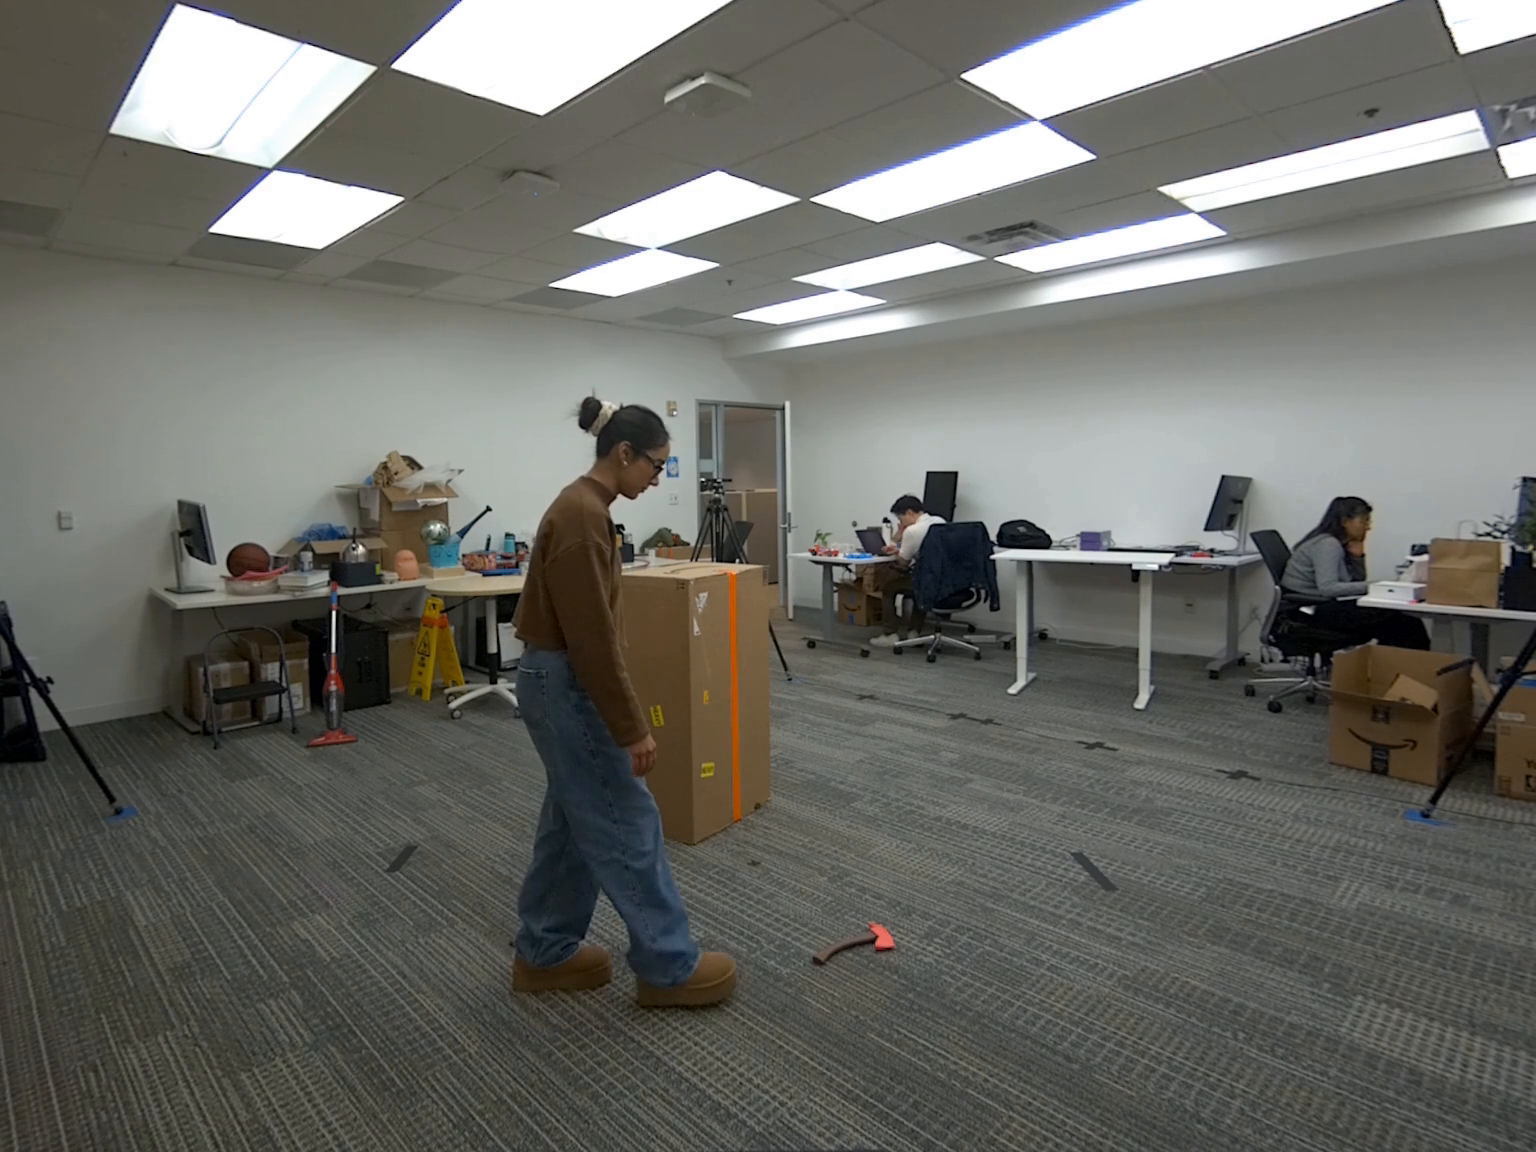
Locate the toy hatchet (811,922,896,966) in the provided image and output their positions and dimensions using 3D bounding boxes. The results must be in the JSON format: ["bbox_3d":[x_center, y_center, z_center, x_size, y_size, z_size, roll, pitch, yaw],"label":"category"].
[{"bbox_3d":[0.276,1.099,2.507,0.263,0.029,0.135,-10,12,-43],"label":"toy hatchet"}]
